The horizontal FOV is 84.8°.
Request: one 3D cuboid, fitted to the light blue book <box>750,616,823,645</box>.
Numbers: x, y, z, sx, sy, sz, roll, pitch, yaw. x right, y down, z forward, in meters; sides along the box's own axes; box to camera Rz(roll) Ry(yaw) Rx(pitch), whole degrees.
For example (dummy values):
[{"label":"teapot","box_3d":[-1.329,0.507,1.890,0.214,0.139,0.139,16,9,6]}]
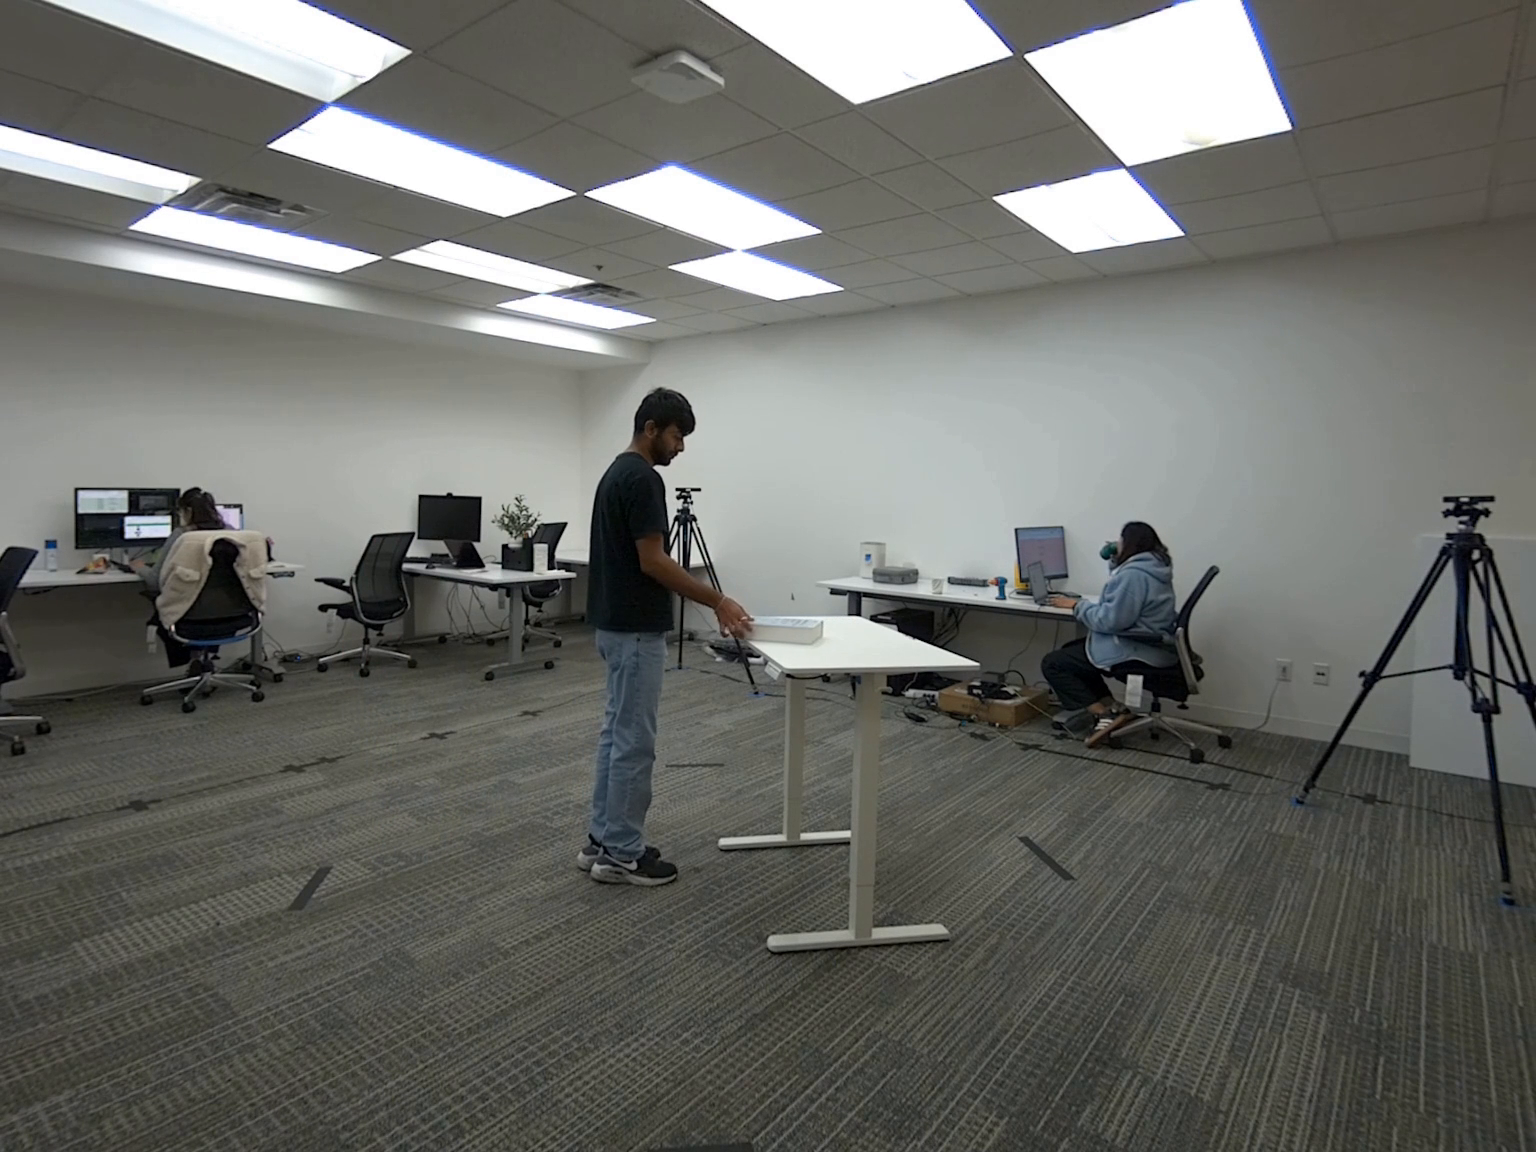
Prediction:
[{"label":"light blue book","box_3d":[0.045,0.187,2.910,0.265,0.059,0.189,2,6,12]}]
